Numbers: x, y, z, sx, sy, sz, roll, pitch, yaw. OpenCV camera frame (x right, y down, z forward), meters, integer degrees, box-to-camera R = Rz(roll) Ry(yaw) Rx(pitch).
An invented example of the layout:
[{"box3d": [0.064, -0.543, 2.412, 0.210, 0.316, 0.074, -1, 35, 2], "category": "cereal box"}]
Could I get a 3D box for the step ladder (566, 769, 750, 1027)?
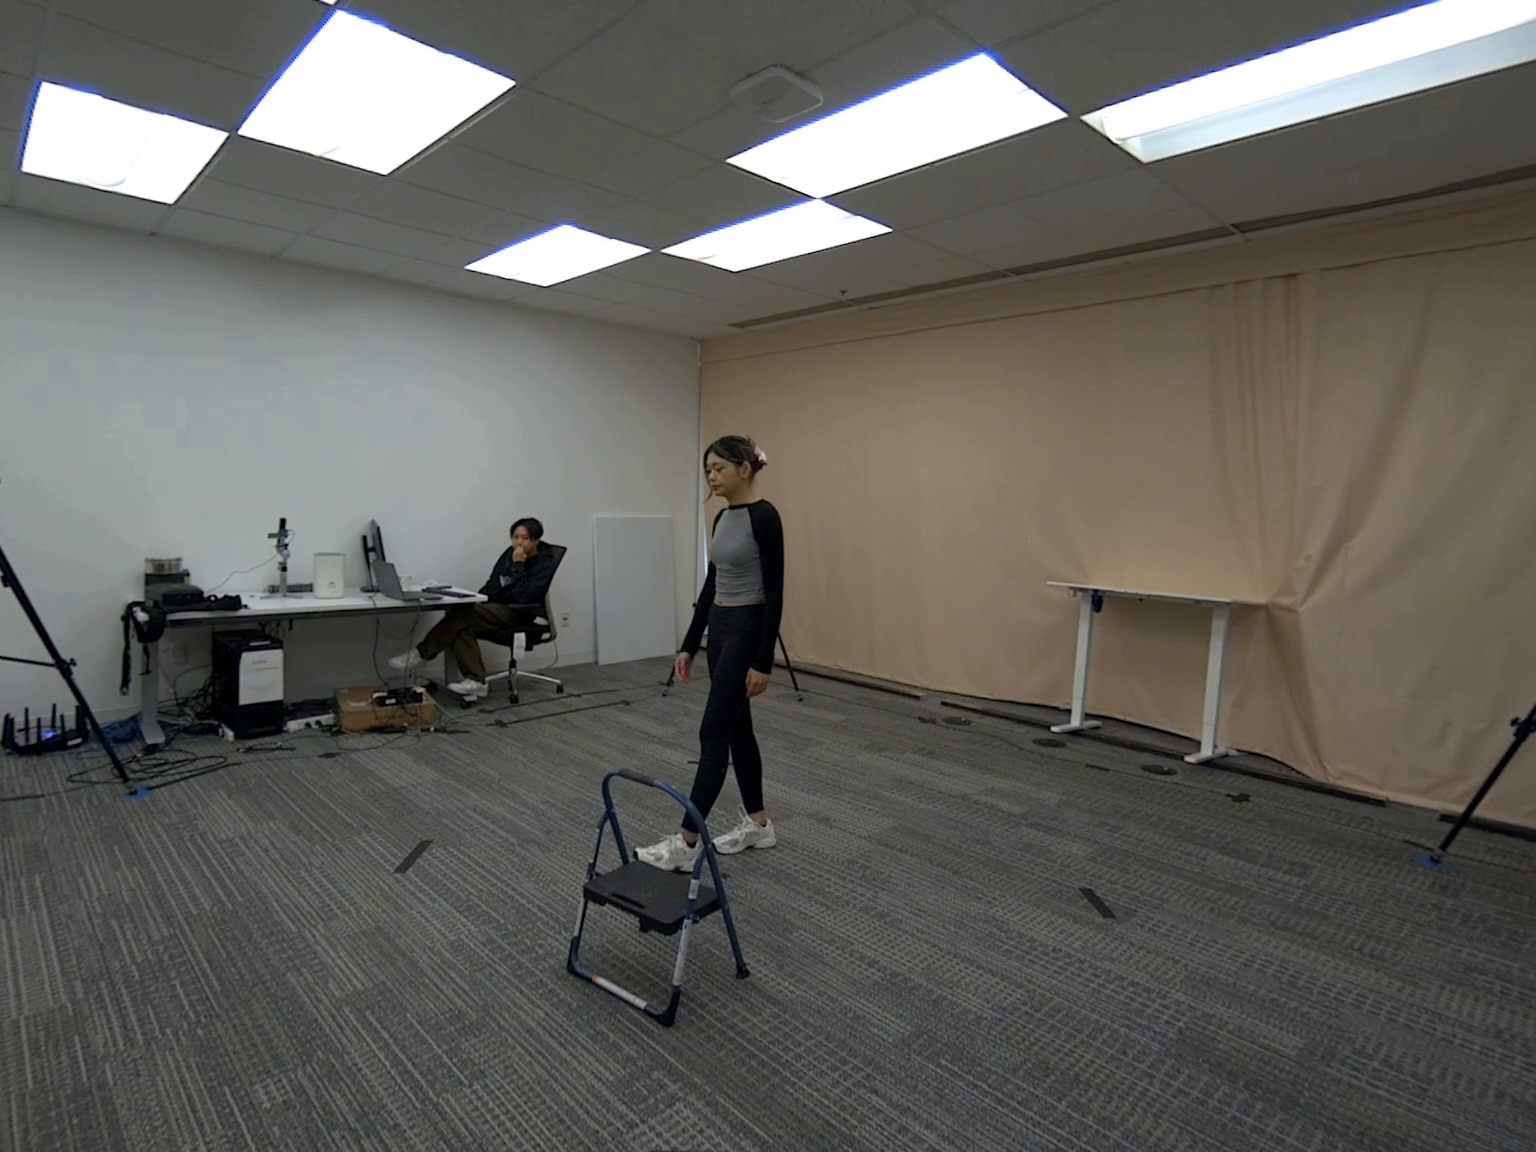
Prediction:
[{"box3d": [-0.325, 0.860, 2.444, 0.441, 0.605, 0.342, 4, 4, 37], "category": "step ladder"}]
